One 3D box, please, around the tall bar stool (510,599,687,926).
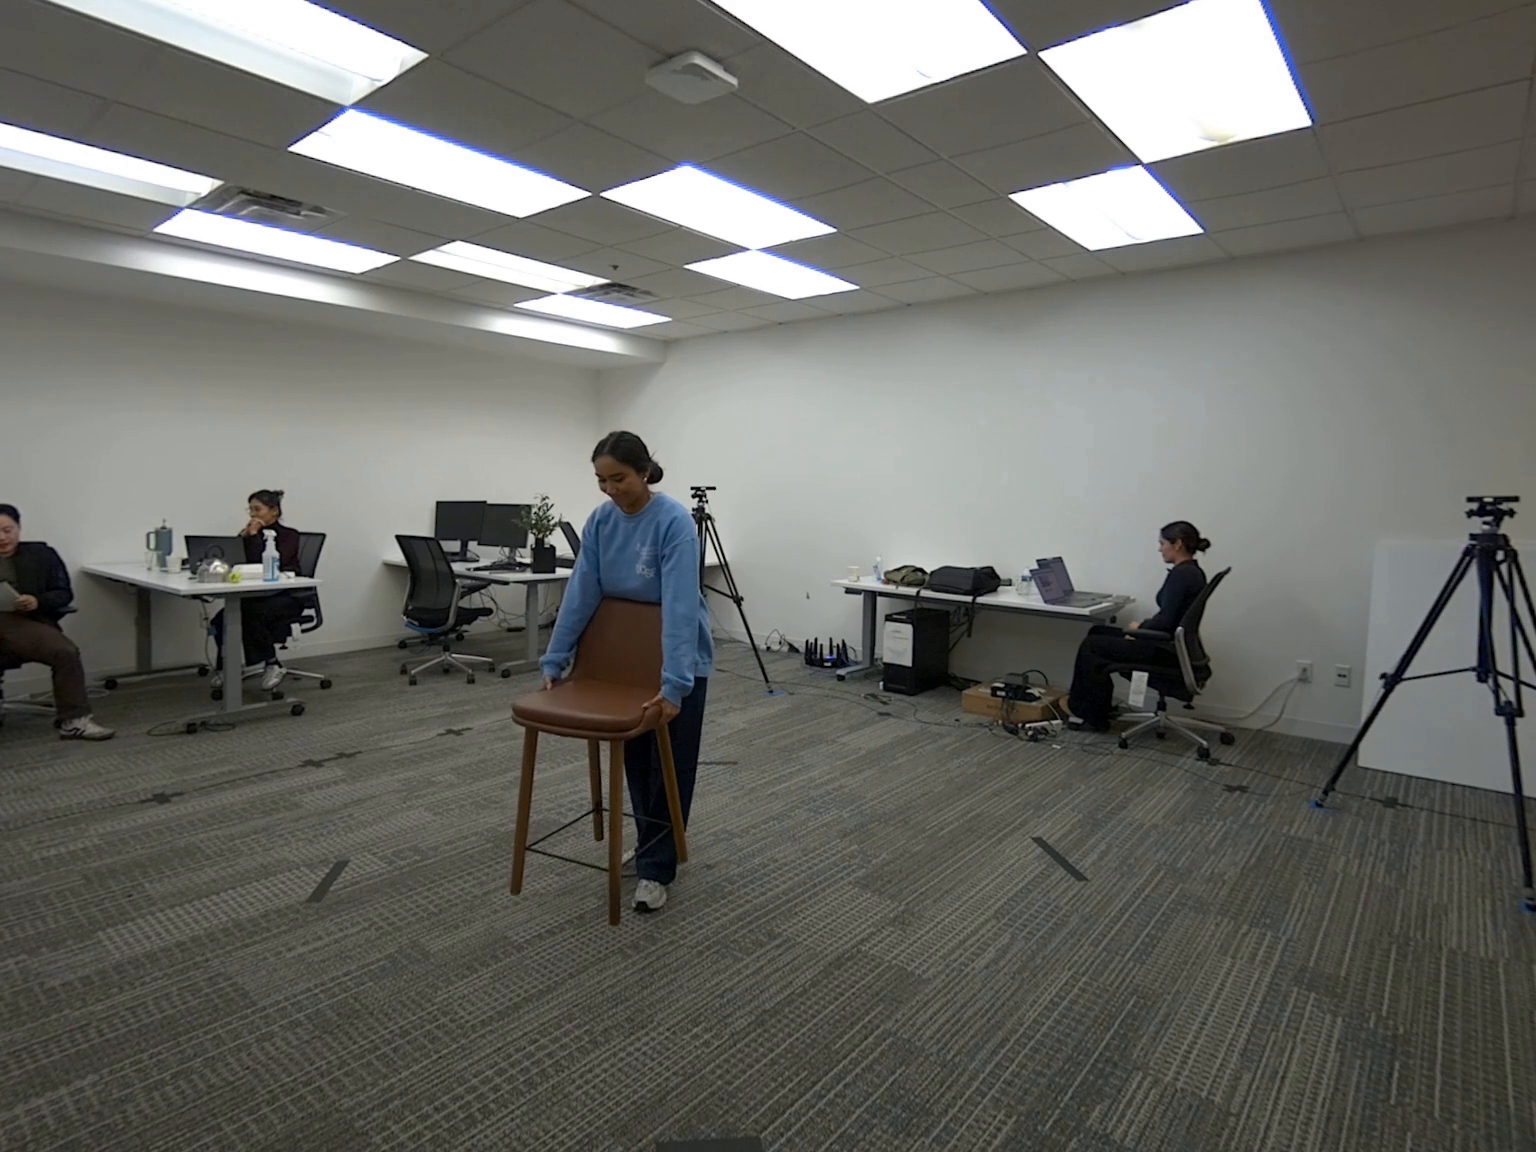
[{"bbox_3d":[-0.534,0.551,2.720,0.469,0.887,0.456,3,4,28],"label":"tall bar stool"}]
